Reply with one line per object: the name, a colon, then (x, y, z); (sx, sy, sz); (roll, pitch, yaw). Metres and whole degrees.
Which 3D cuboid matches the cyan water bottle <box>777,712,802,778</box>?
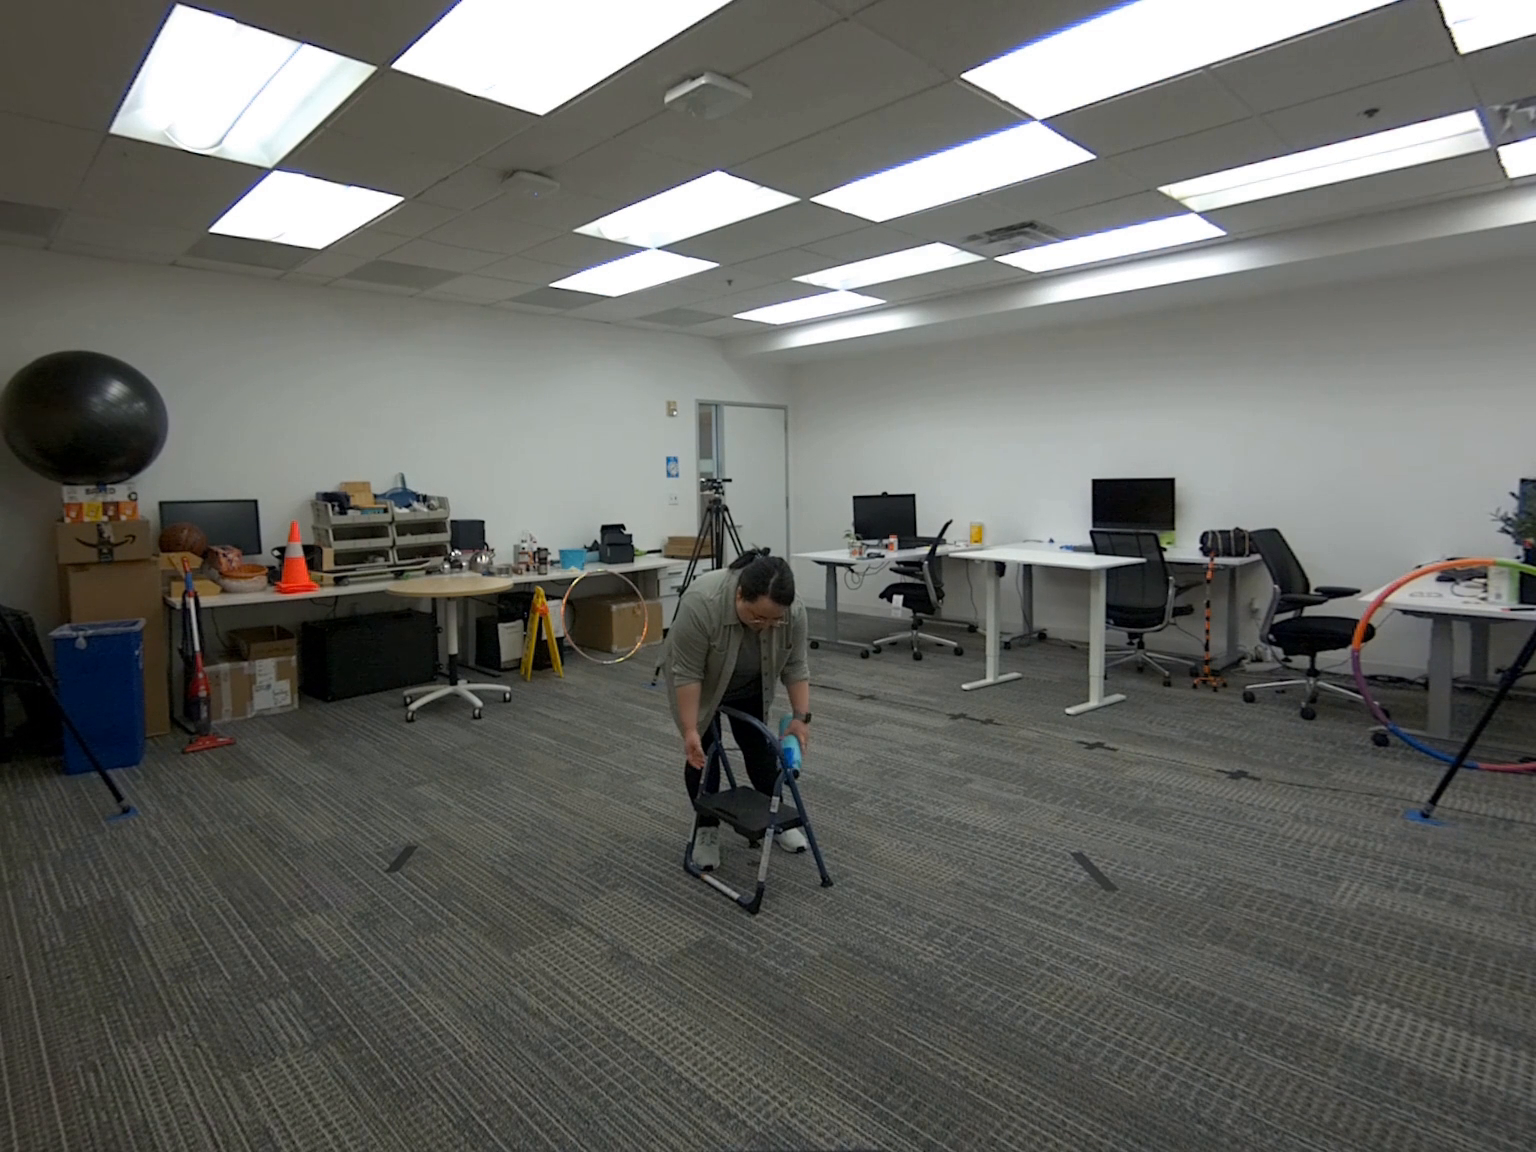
cyan water bottle: (0.072, 0.622, 3.086); (0.093, 0.090, 0.289); (-1, 31, 5)
